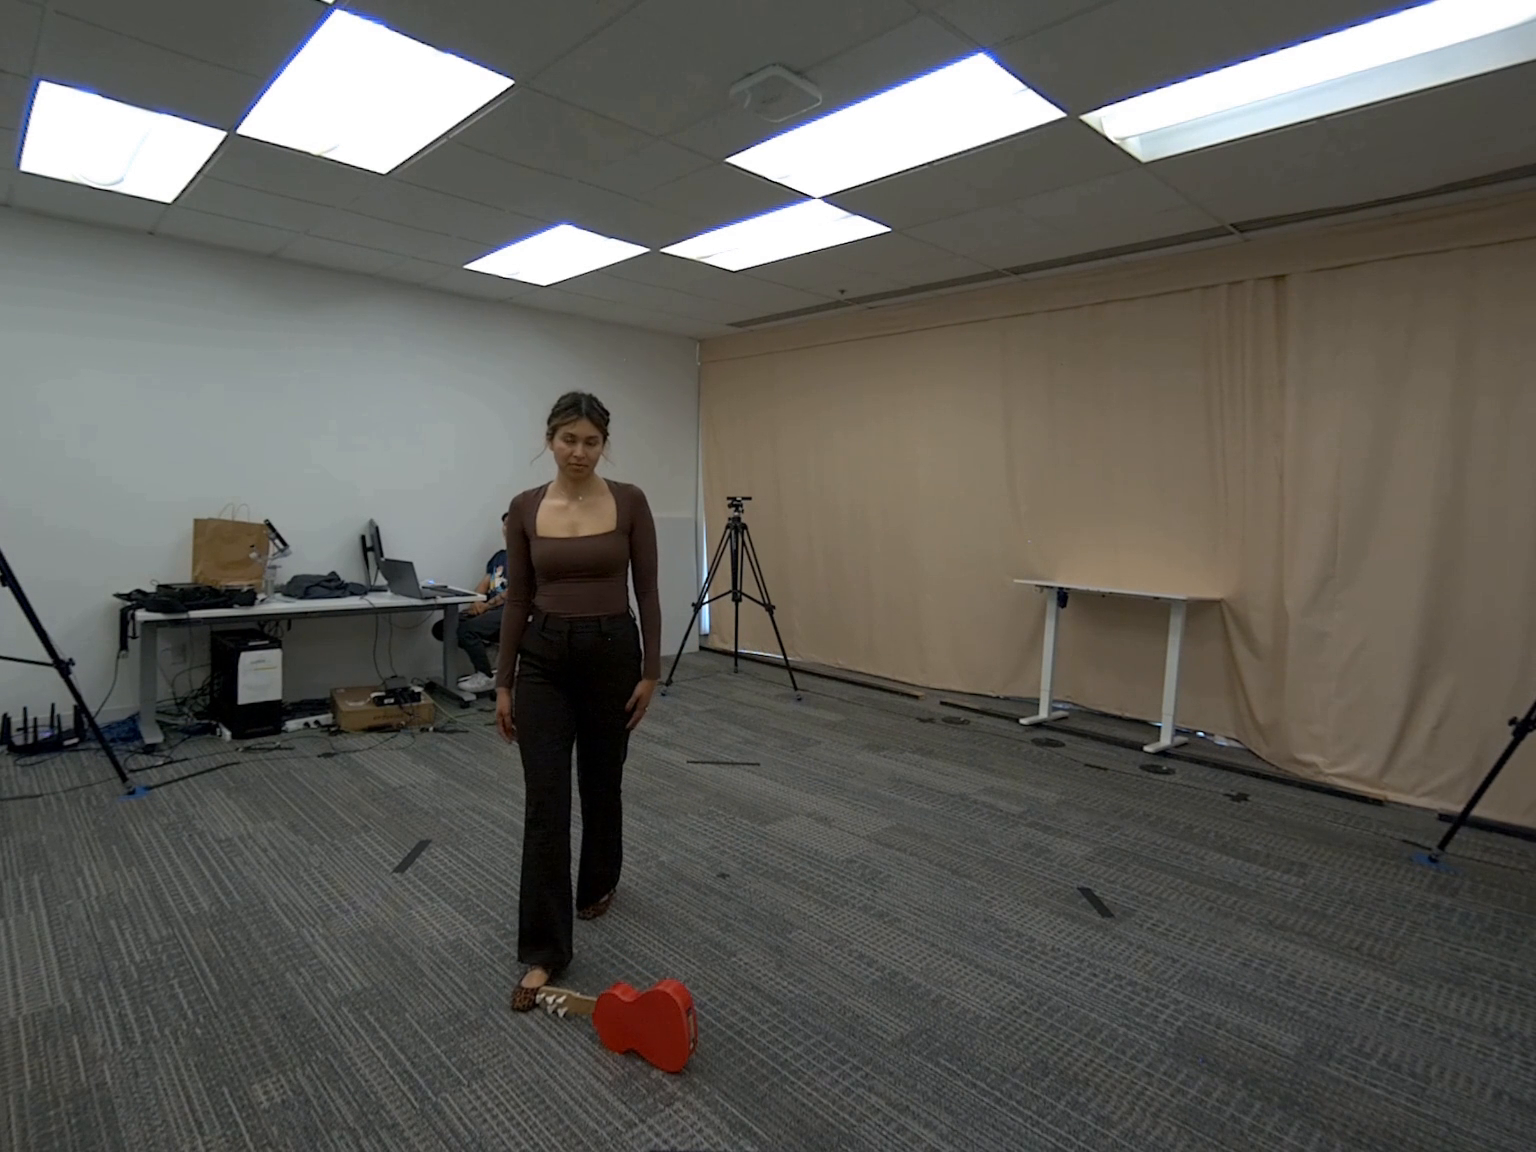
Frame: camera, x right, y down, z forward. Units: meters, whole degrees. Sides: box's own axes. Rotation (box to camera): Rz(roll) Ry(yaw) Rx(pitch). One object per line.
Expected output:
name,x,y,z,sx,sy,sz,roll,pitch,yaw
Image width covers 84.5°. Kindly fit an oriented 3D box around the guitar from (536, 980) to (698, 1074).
guitar,-0.404,1.153,2.142,0.504,0.194,0.069,-17,-7,26
